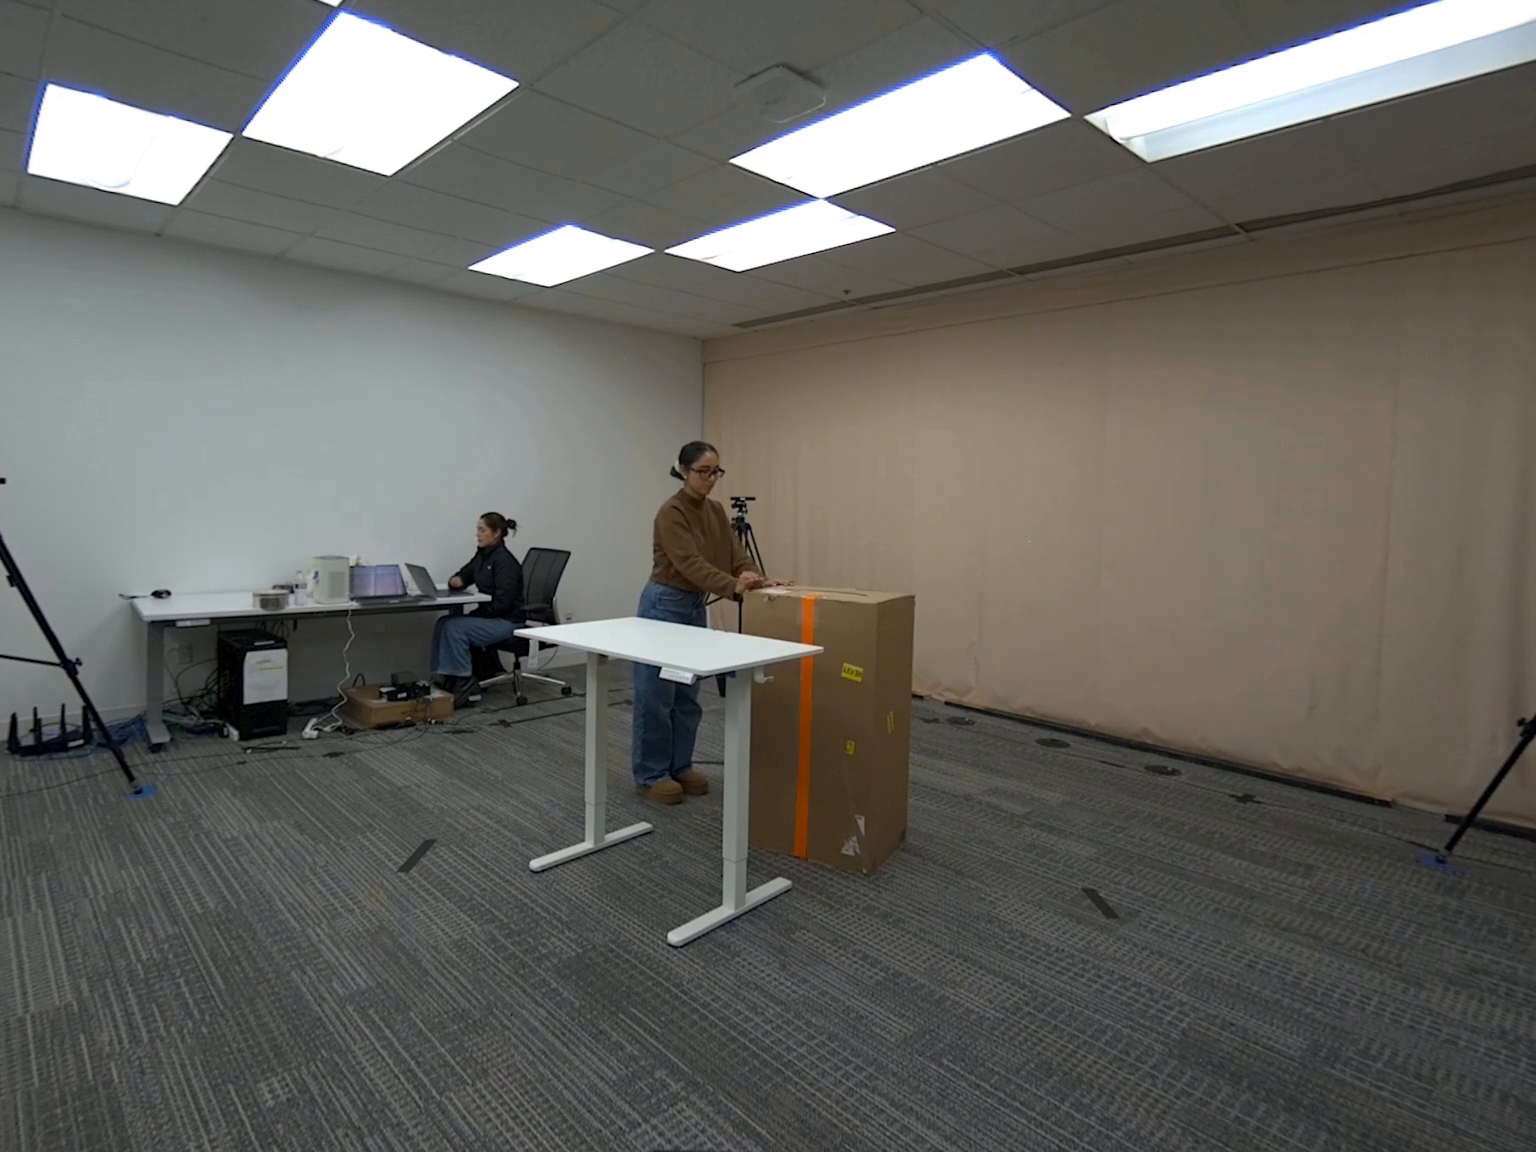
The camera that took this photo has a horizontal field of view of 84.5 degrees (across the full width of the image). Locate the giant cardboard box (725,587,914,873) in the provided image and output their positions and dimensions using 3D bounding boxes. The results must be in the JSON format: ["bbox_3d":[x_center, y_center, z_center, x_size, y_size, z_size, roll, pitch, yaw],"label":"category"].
[{"bbox_3d":[0.231,0.576,3.426,0.590,1.024,0.418,3,3,30],"label":"giant cardboard box"}]
